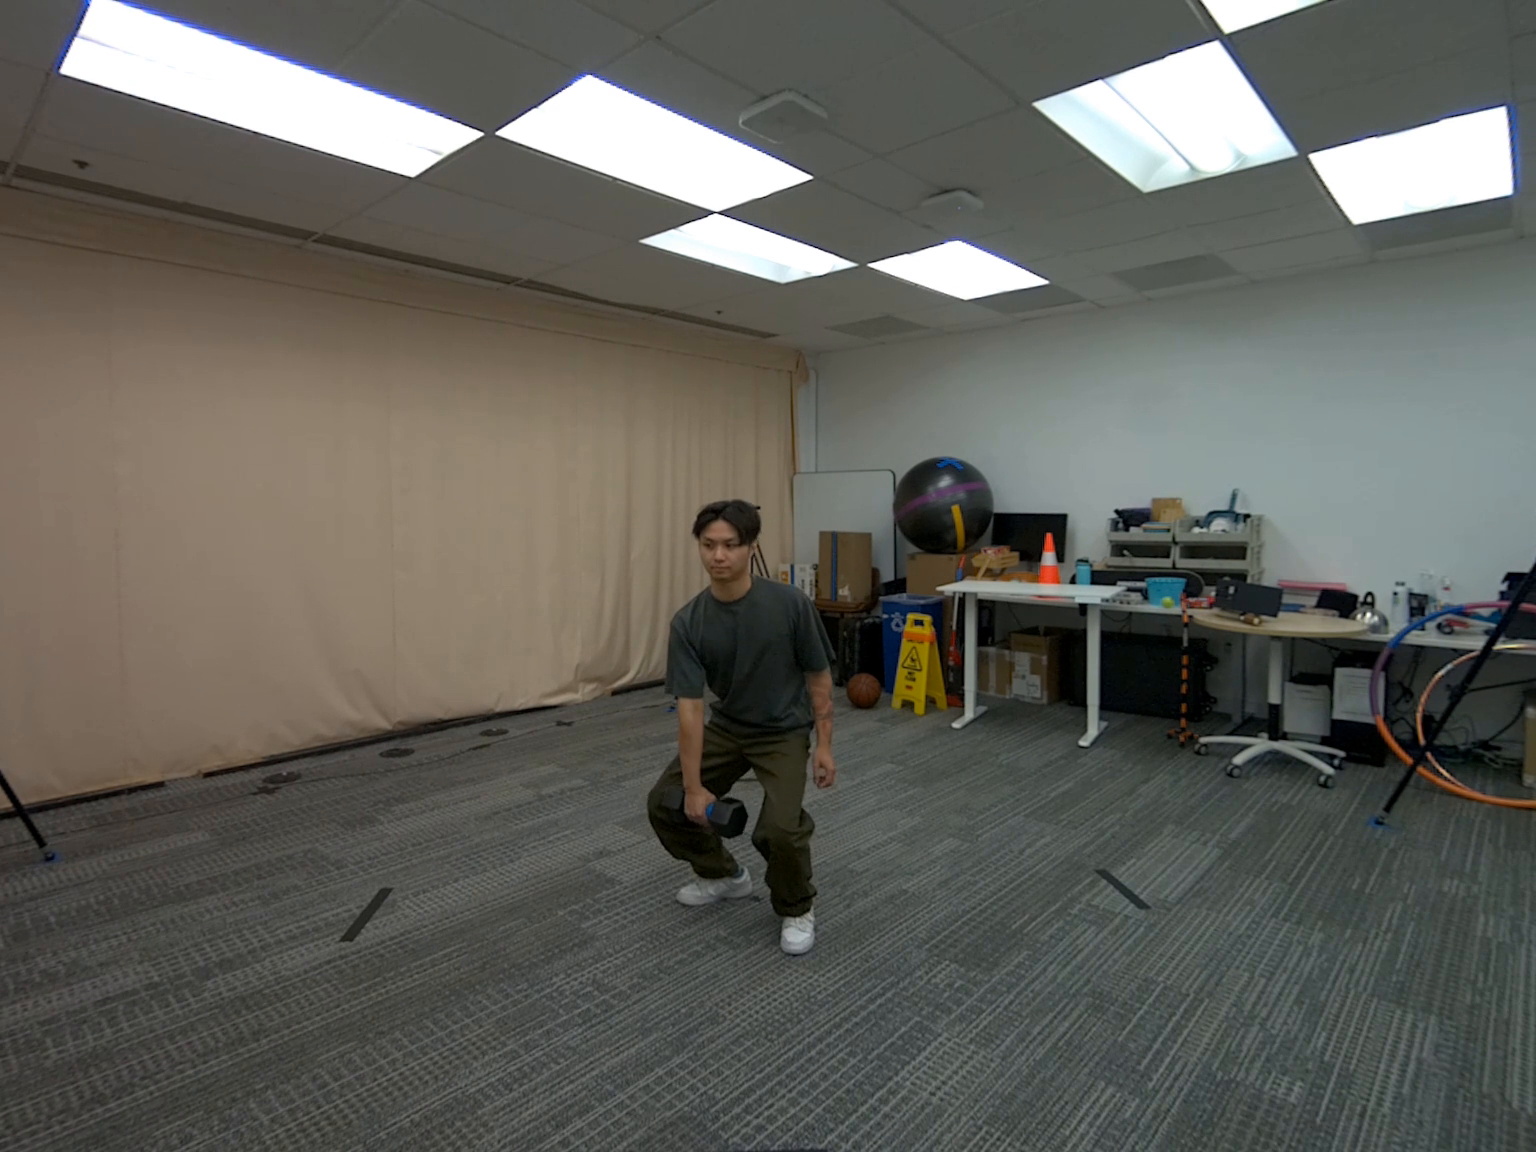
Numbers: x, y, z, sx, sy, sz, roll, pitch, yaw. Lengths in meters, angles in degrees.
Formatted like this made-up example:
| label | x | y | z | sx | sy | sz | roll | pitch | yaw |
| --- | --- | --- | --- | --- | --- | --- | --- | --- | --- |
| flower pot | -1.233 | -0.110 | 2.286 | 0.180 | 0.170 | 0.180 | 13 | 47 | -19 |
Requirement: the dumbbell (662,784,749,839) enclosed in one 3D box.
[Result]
| label | x | y | z | sx | sy | sz | roll | pitch | yaw |
| --- | --- | --- | --- | --- | --- | --- | --- | --- | --- |
| dumbbell | -0.200 | 0.755 | 2.721 | 0.303 | 0.120 | 0.107 | 3 | 32 | 41 |
